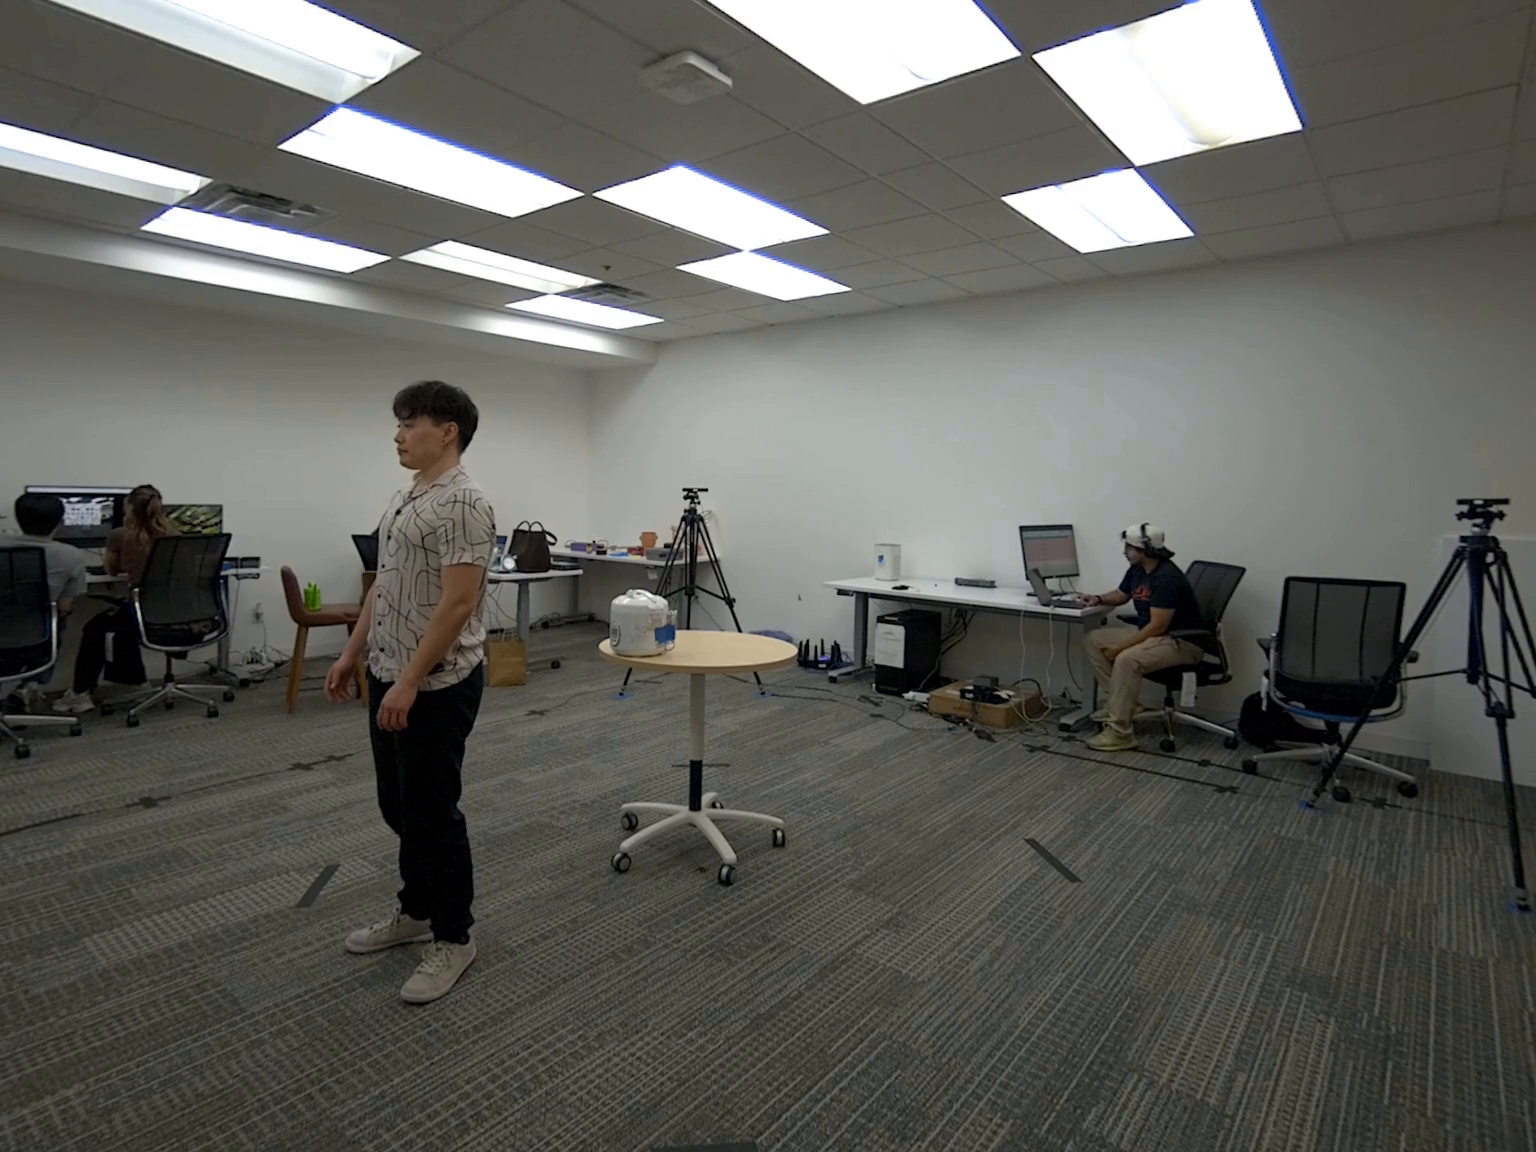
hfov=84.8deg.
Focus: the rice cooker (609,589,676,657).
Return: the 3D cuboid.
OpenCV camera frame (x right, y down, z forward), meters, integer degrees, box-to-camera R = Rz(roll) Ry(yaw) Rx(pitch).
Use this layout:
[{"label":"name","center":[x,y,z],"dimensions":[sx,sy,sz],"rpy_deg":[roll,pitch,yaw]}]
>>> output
[{"label":"rice cooker","center":[-0.477,0.163,3.112],"dimensions":[0.211,0.232,0.228],"rpy_deg":[-1,5,-43]}]
